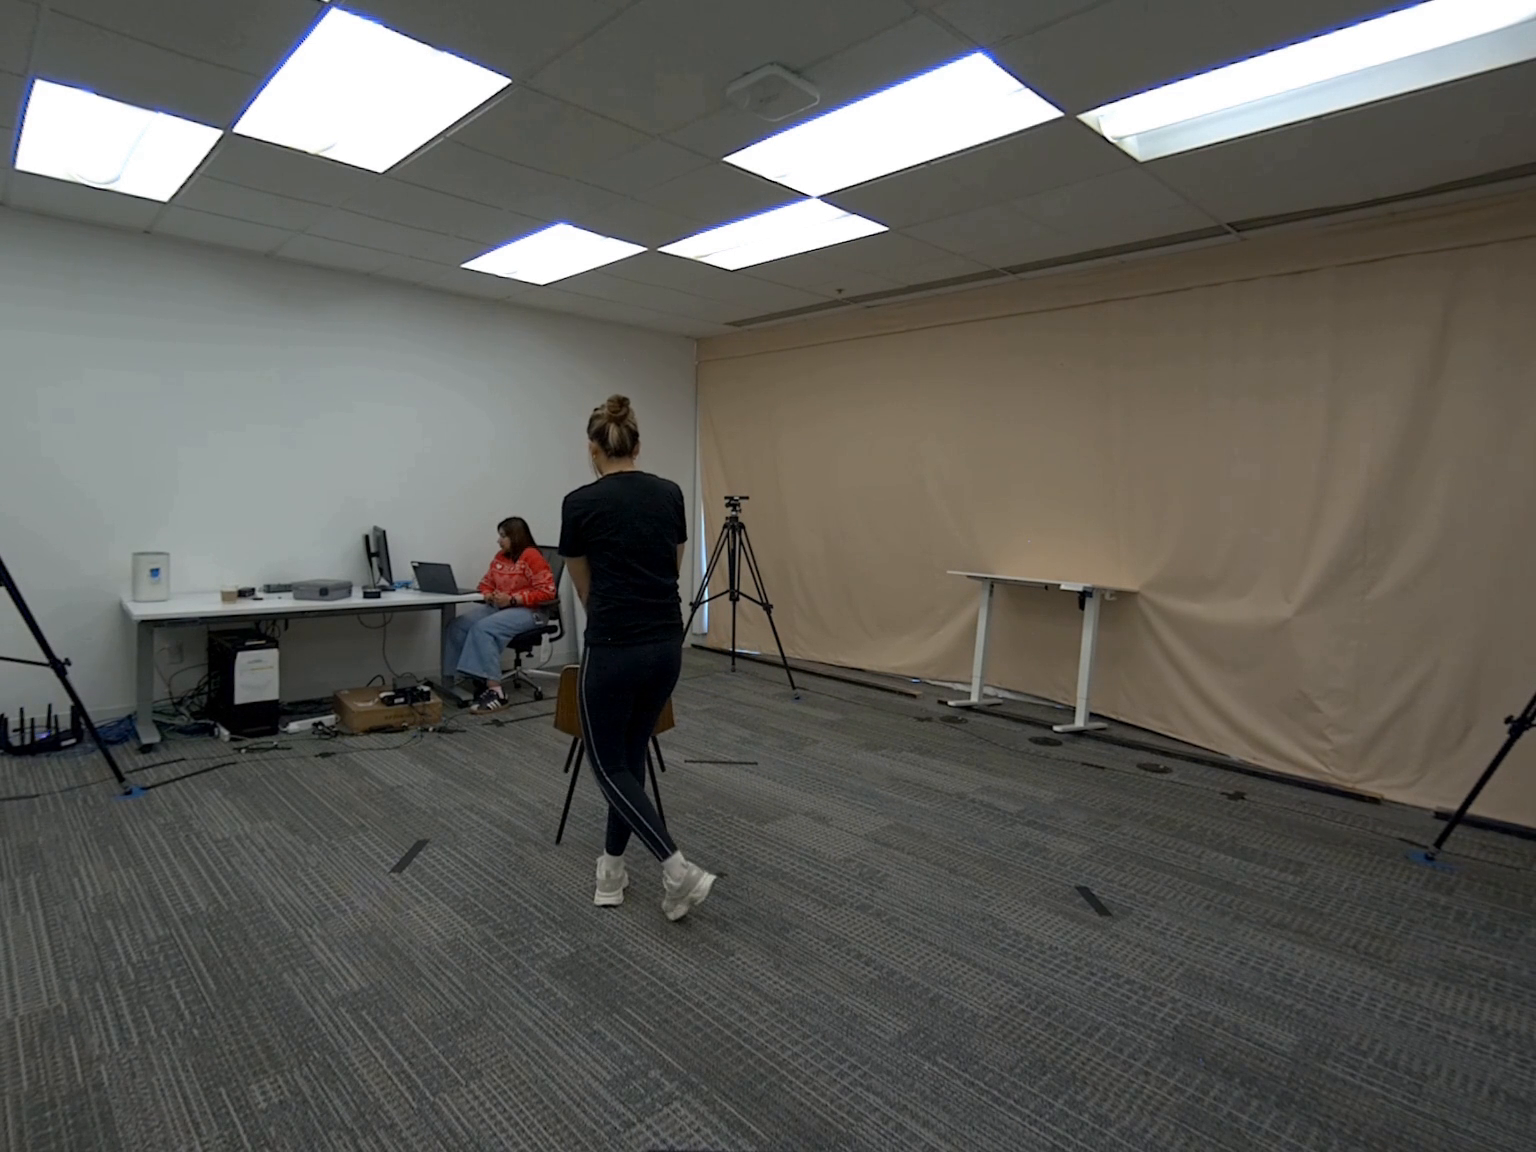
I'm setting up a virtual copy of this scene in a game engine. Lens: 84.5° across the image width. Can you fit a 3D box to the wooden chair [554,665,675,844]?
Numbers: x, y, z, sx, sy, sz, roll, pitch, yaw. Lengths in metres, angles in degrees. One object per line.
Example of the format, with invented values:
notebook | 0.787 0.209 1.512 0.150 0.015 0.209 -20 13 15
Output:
wooden chair | -0.626 0.587 3.411 0.475 0.863 0.535 0 28 -9
